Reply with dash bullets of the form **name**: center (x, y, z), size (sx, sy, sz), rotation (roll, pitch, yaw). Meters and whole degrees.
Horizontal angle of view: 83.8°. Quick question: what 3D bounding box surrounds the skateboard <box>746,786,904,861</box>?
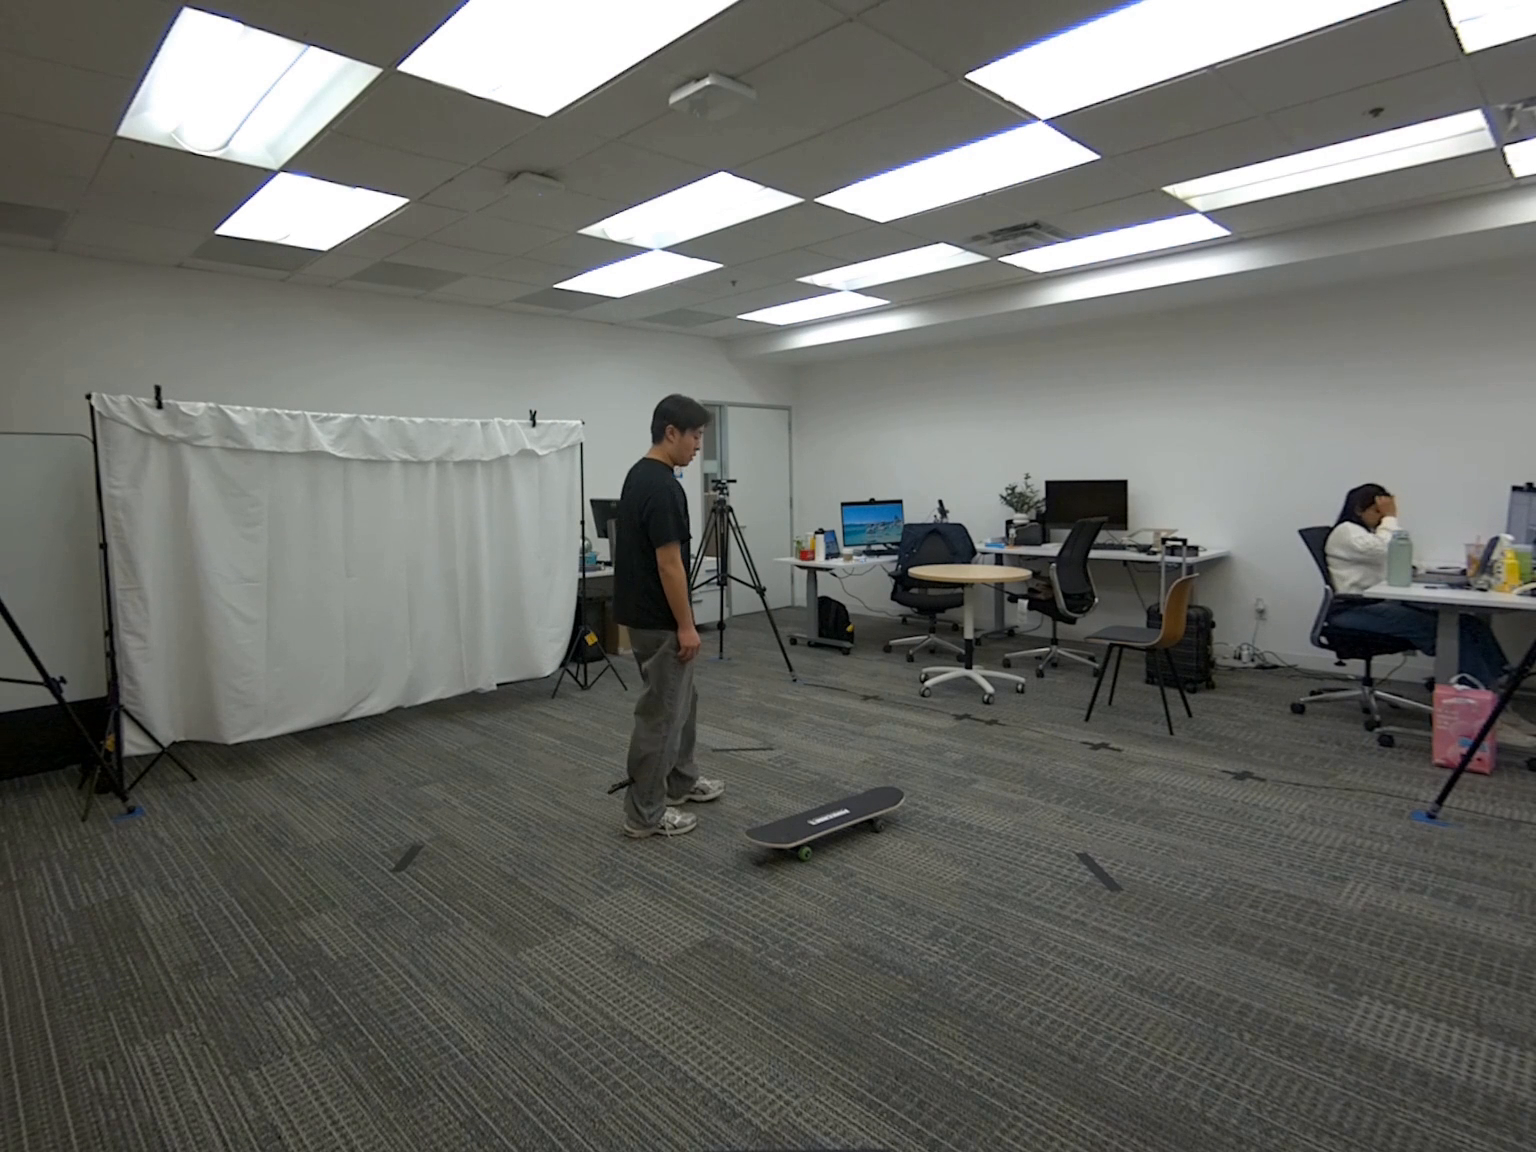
- **skateboard**: center (0.236, 0.960, 3.311), size (0.765, 0.110, 0.199), rotation (-6, 7, -38)
